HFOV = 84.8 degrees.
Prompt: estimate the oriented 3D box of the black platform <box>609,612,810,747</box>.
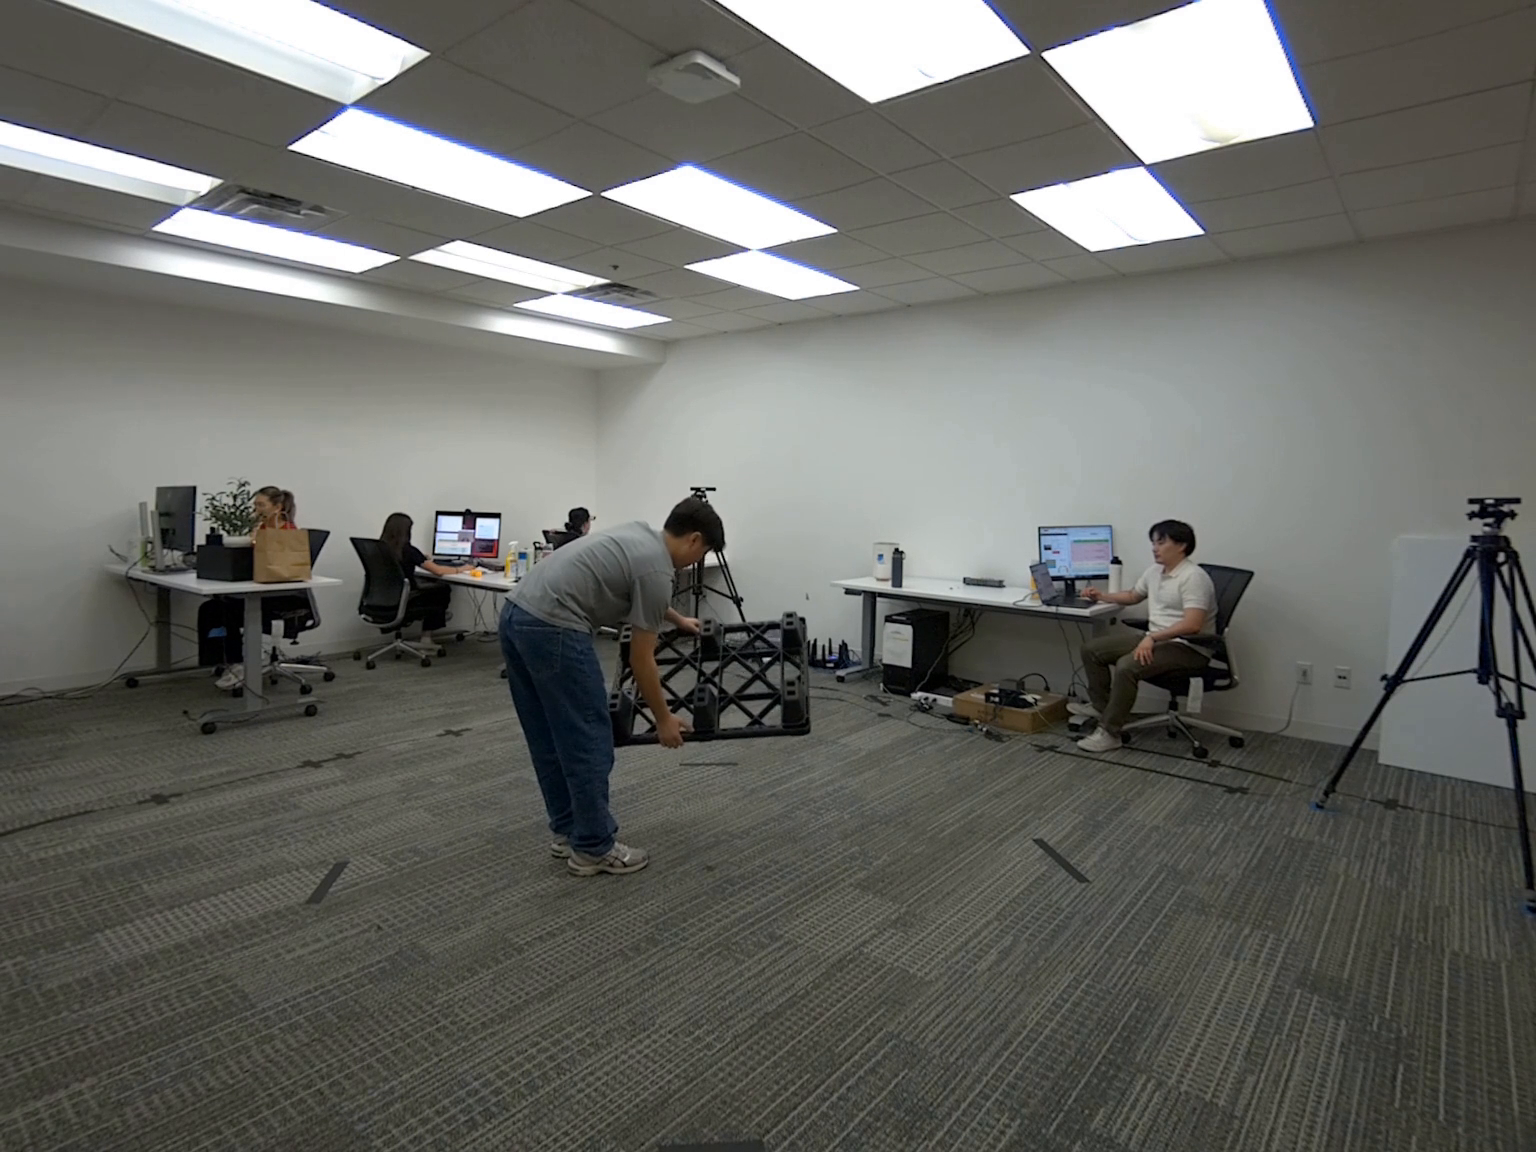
[{"bbox_3d":[-0.250,0.376,3.404,0.812,0.138,0.621,-6,41,7],"label":"black platform"}]
